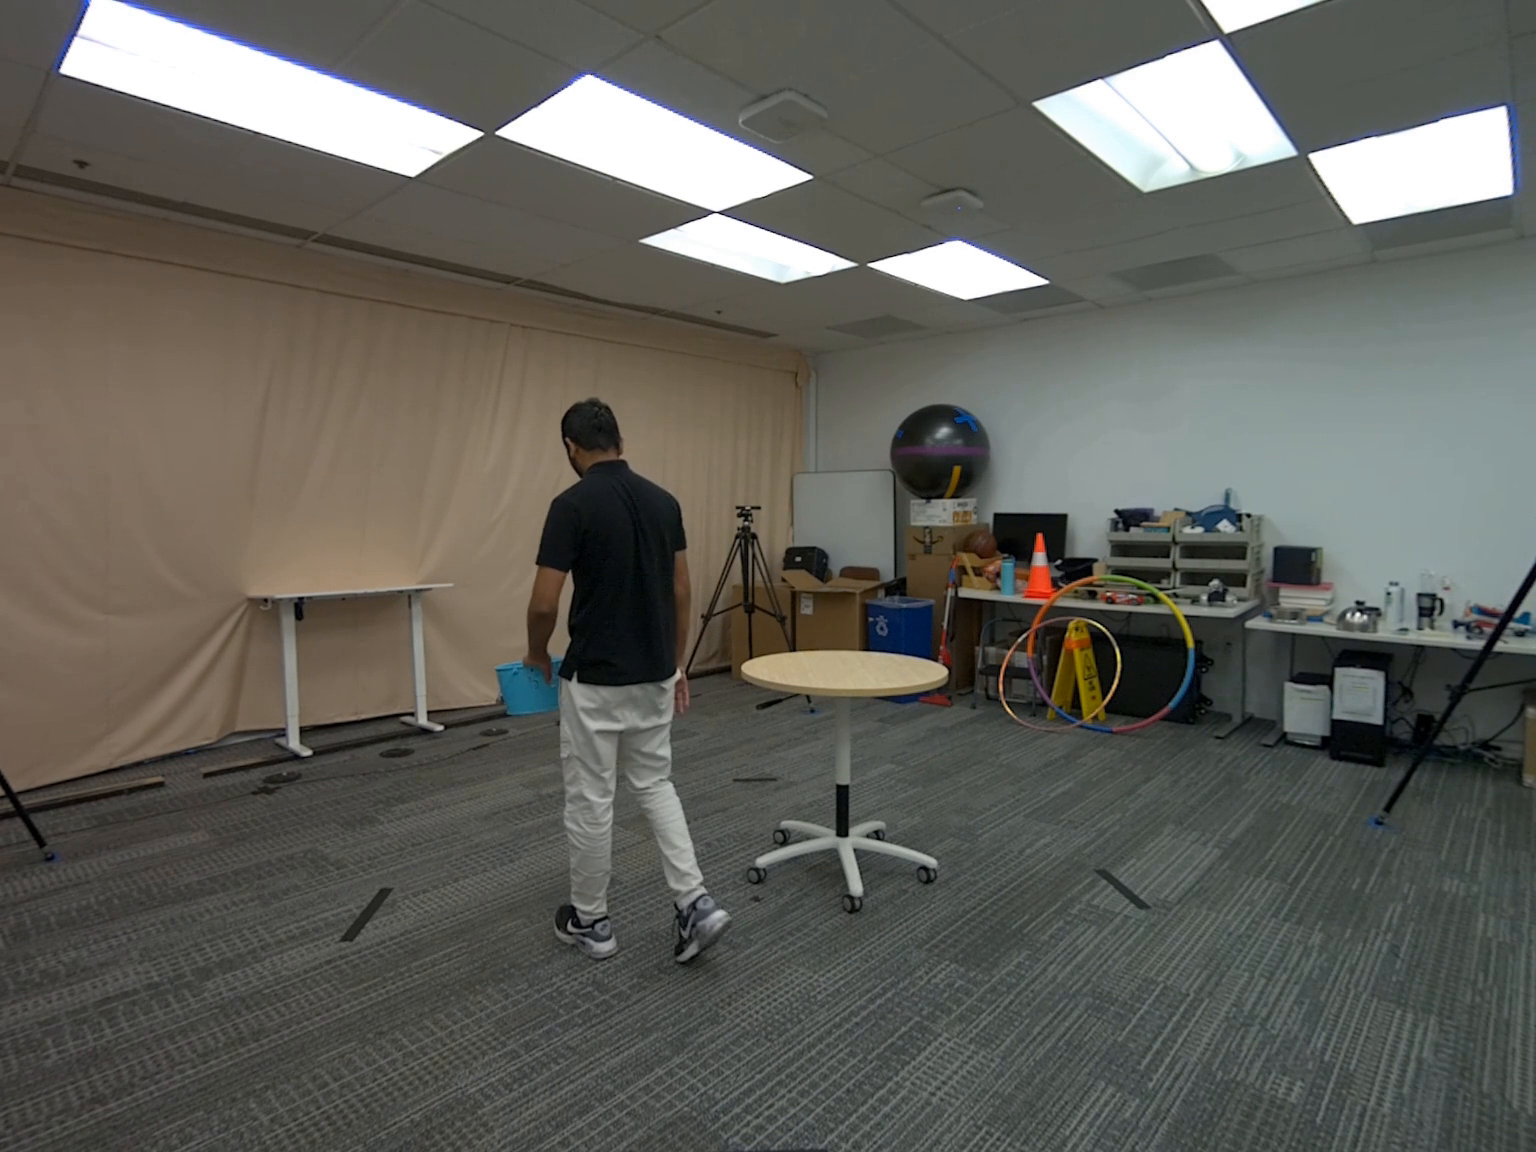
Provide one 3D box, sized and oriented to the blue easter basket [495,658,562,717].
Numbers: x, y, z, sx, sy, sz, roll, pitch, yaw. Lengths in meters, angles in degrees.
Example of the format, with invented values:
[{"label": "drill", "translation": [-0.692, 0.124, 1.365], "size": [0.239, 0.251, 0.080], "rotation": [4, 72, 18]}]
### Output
[{"label": "blue easter basket", "translation": [-0.777, 0.357, 2.750], "size": [0.243, 0.156, 0.243], "rotation": [-6, -1, -2]}]
